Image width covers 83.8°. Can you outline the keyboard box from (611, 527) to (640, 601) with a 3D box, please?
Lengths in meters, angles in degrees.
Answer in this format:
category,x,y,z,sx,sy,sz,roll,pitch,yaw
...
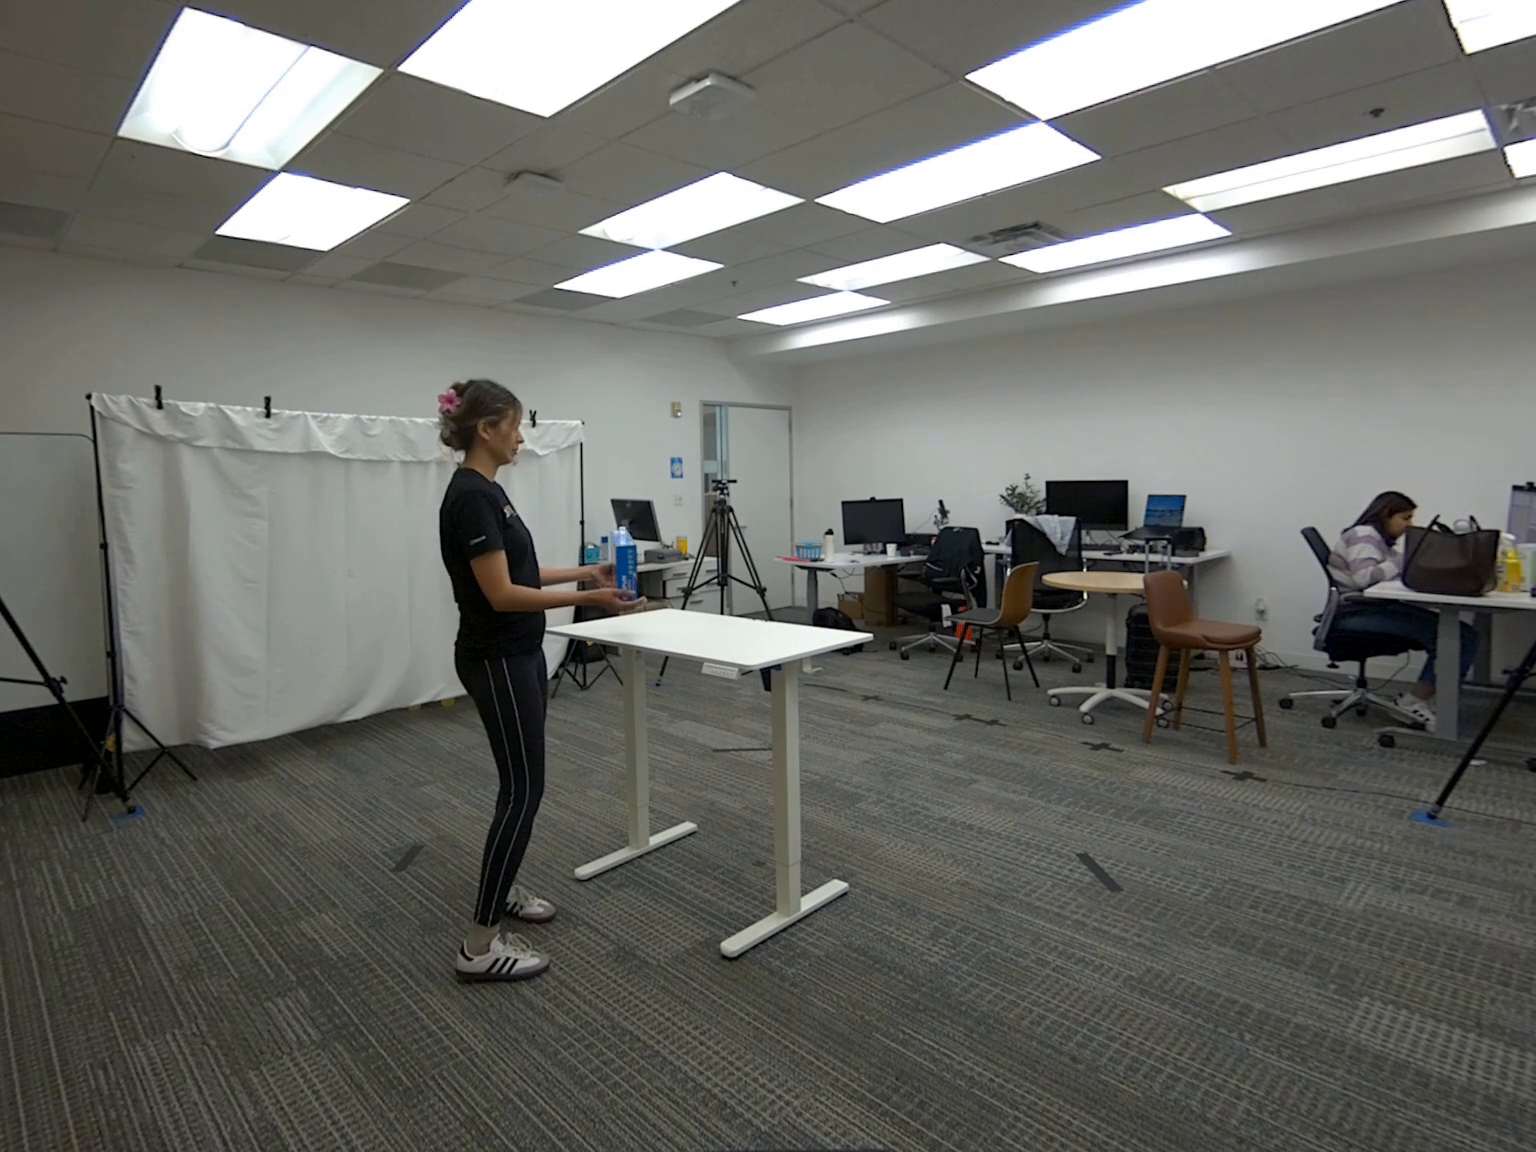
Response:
category,x,y,z,sx,sy,sz,roll,pitch,yaw
keyboard box,-0.453,-0.033,2.653,0.058,0.174,0.444,-4,9,-11
